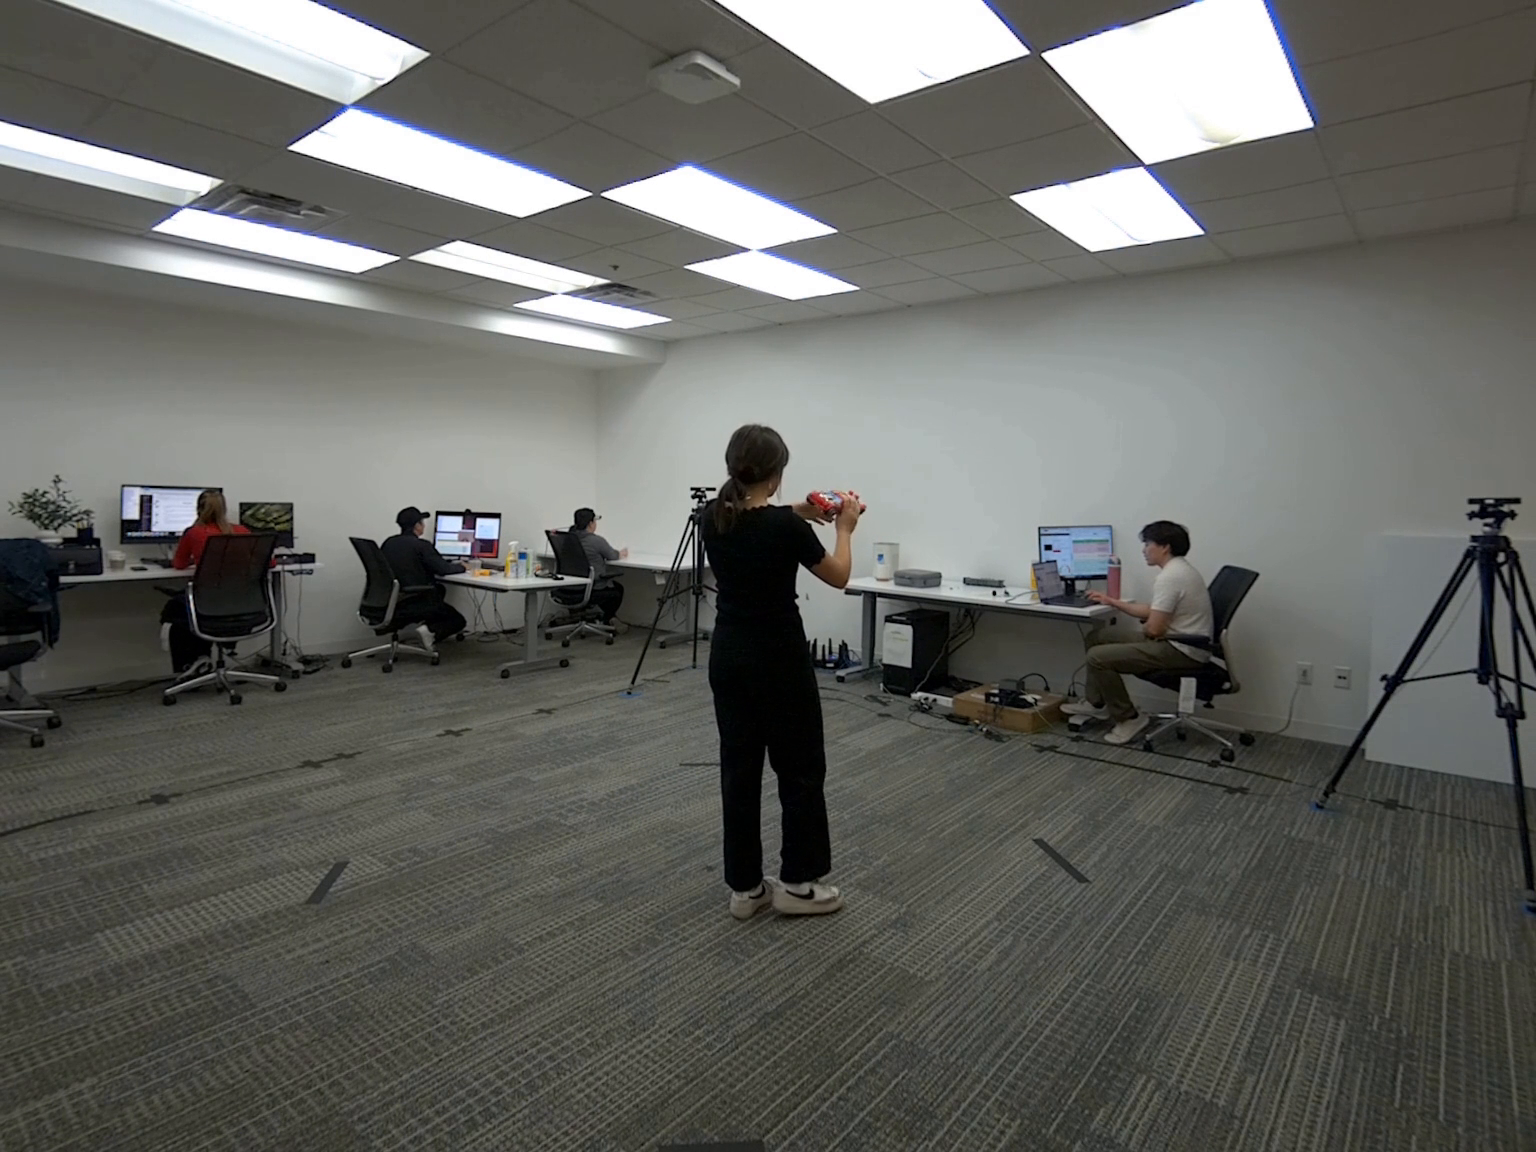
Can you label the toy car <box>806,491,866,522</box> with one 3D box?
[{"bbox_3d":[0.247,-0.251,3.049,0.248,0.082,0.136,-10,37,-41],"label":"toy car"}]
